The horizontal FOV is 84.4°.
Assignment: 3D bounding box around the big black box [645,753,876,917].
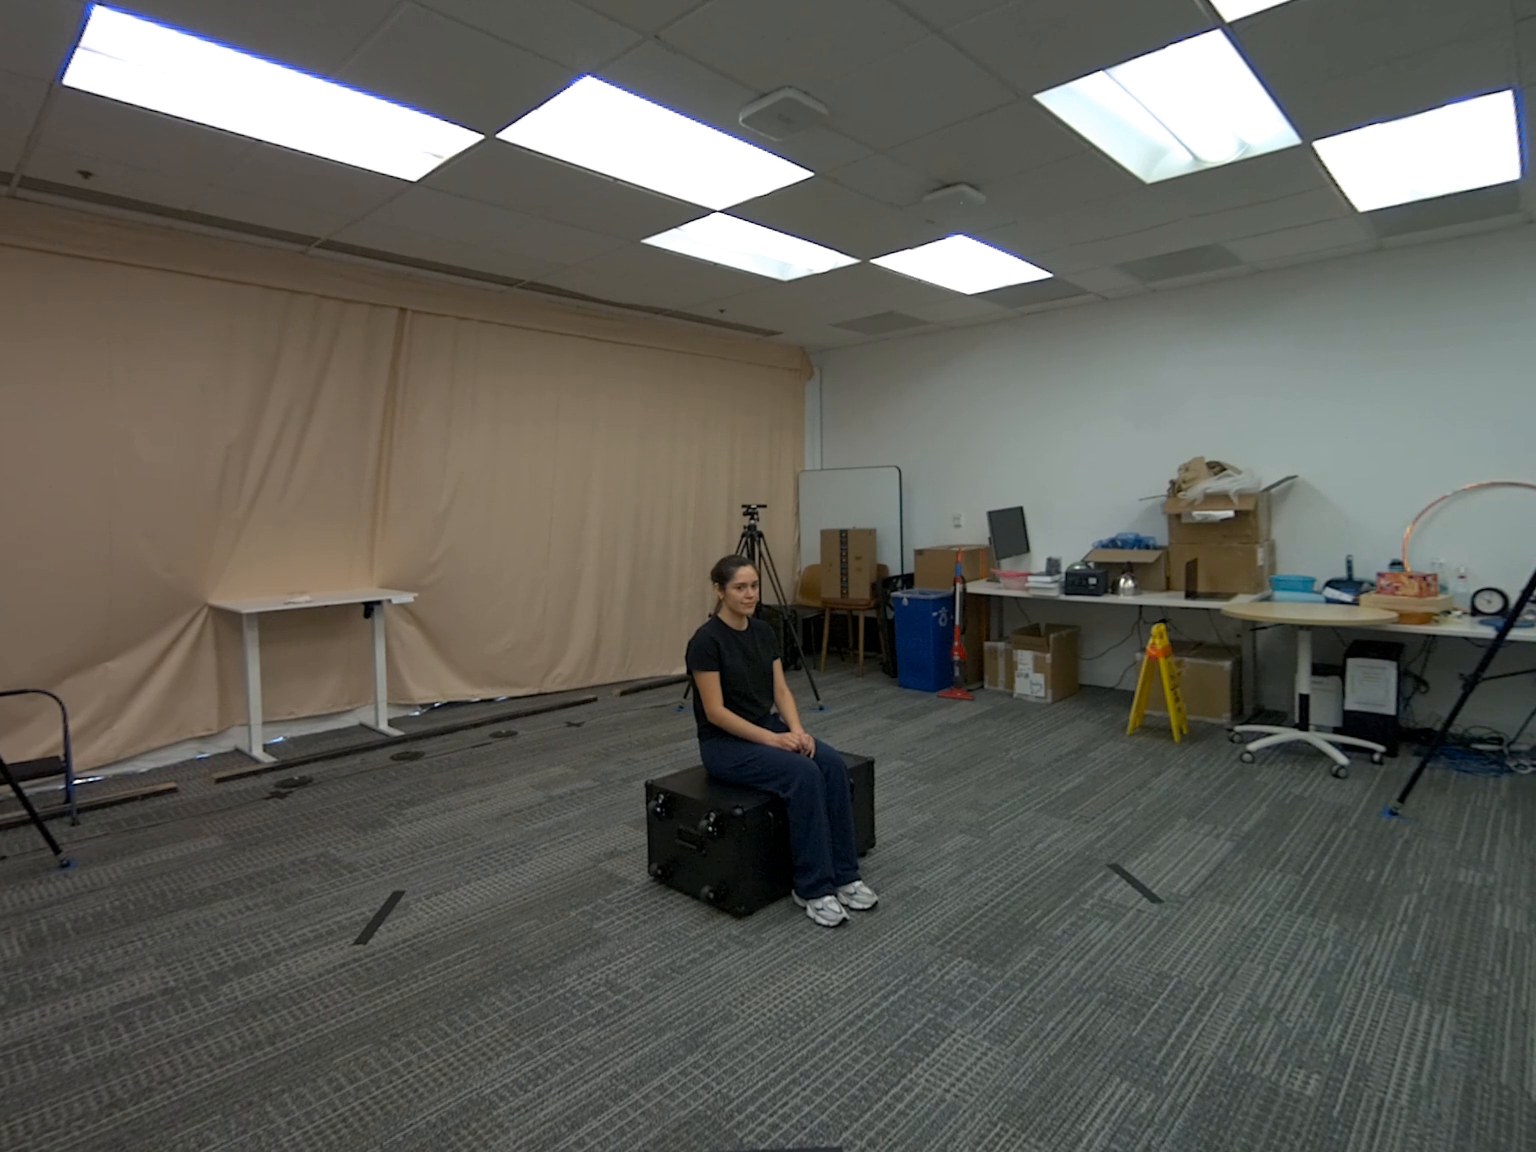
[{"bbox_3d":[-0.023,0.932,3.216,0.538,0.395,0.835,2,5,43],"label":"big black box"}]
